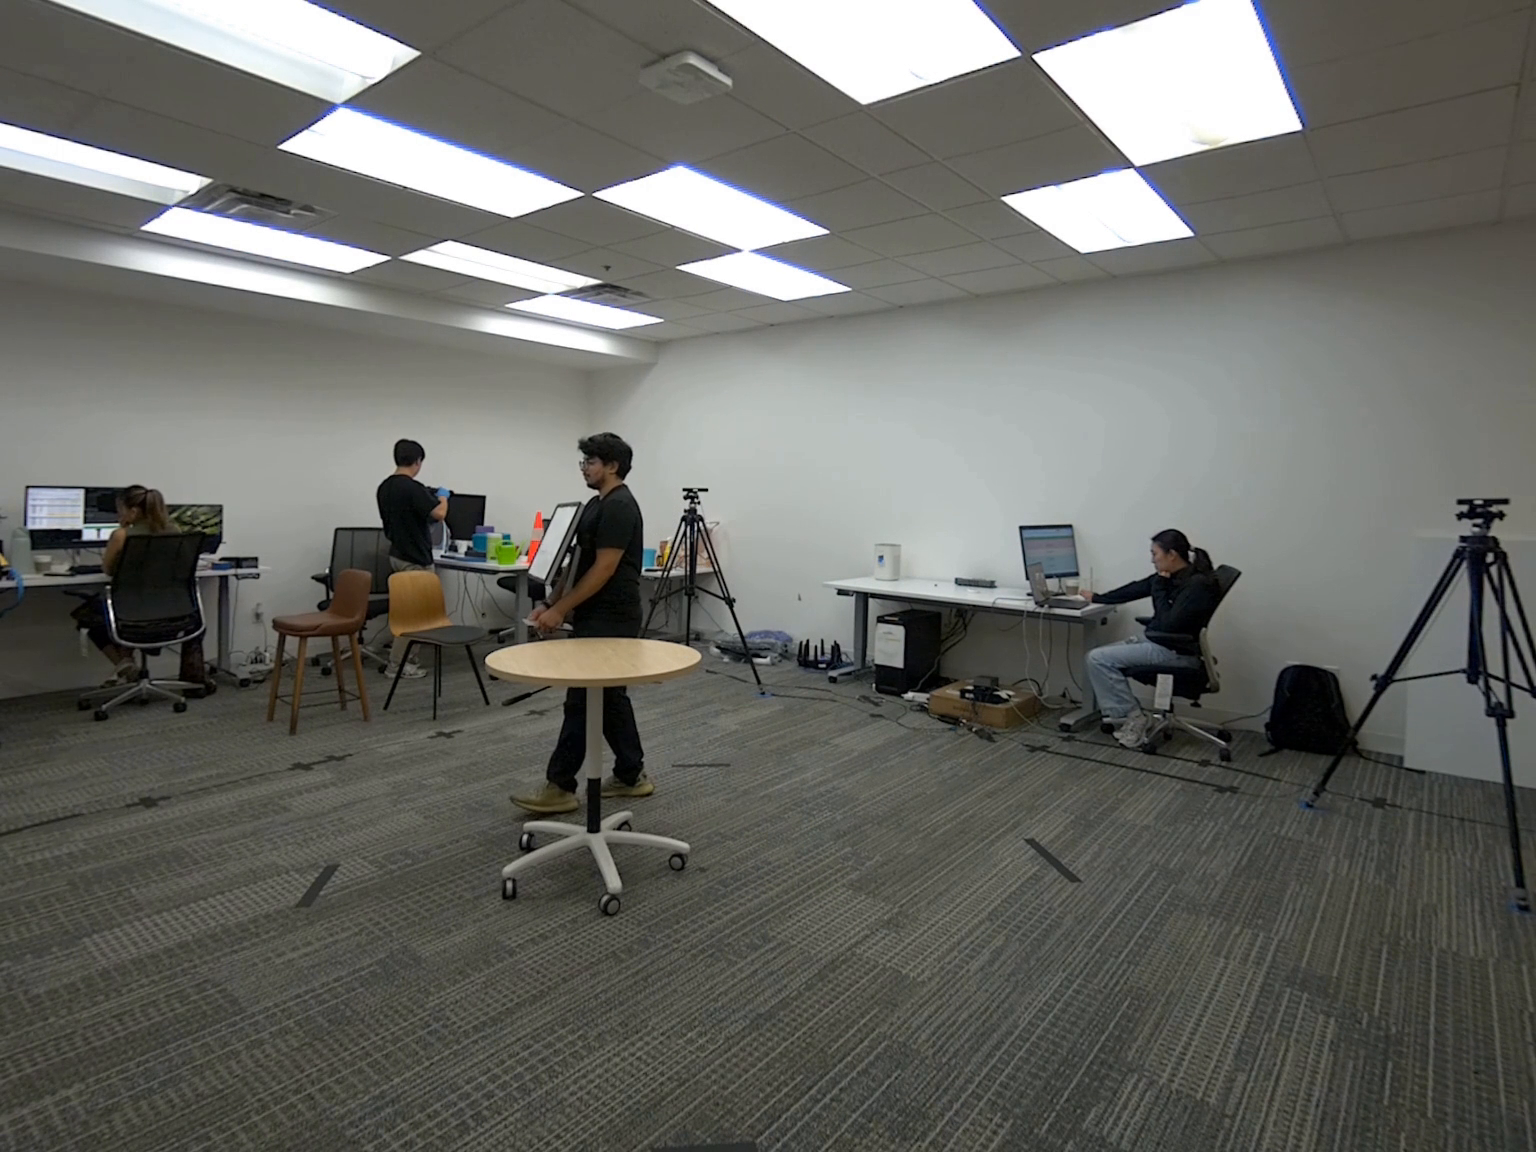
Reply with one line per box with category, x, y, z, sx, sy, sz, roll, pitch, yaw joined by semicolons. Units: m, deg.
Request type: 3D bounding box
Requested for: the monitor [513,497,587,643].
monitor;-0.907;-0.044;3.690;0.205;0.555;0.578;18;-4;-21
